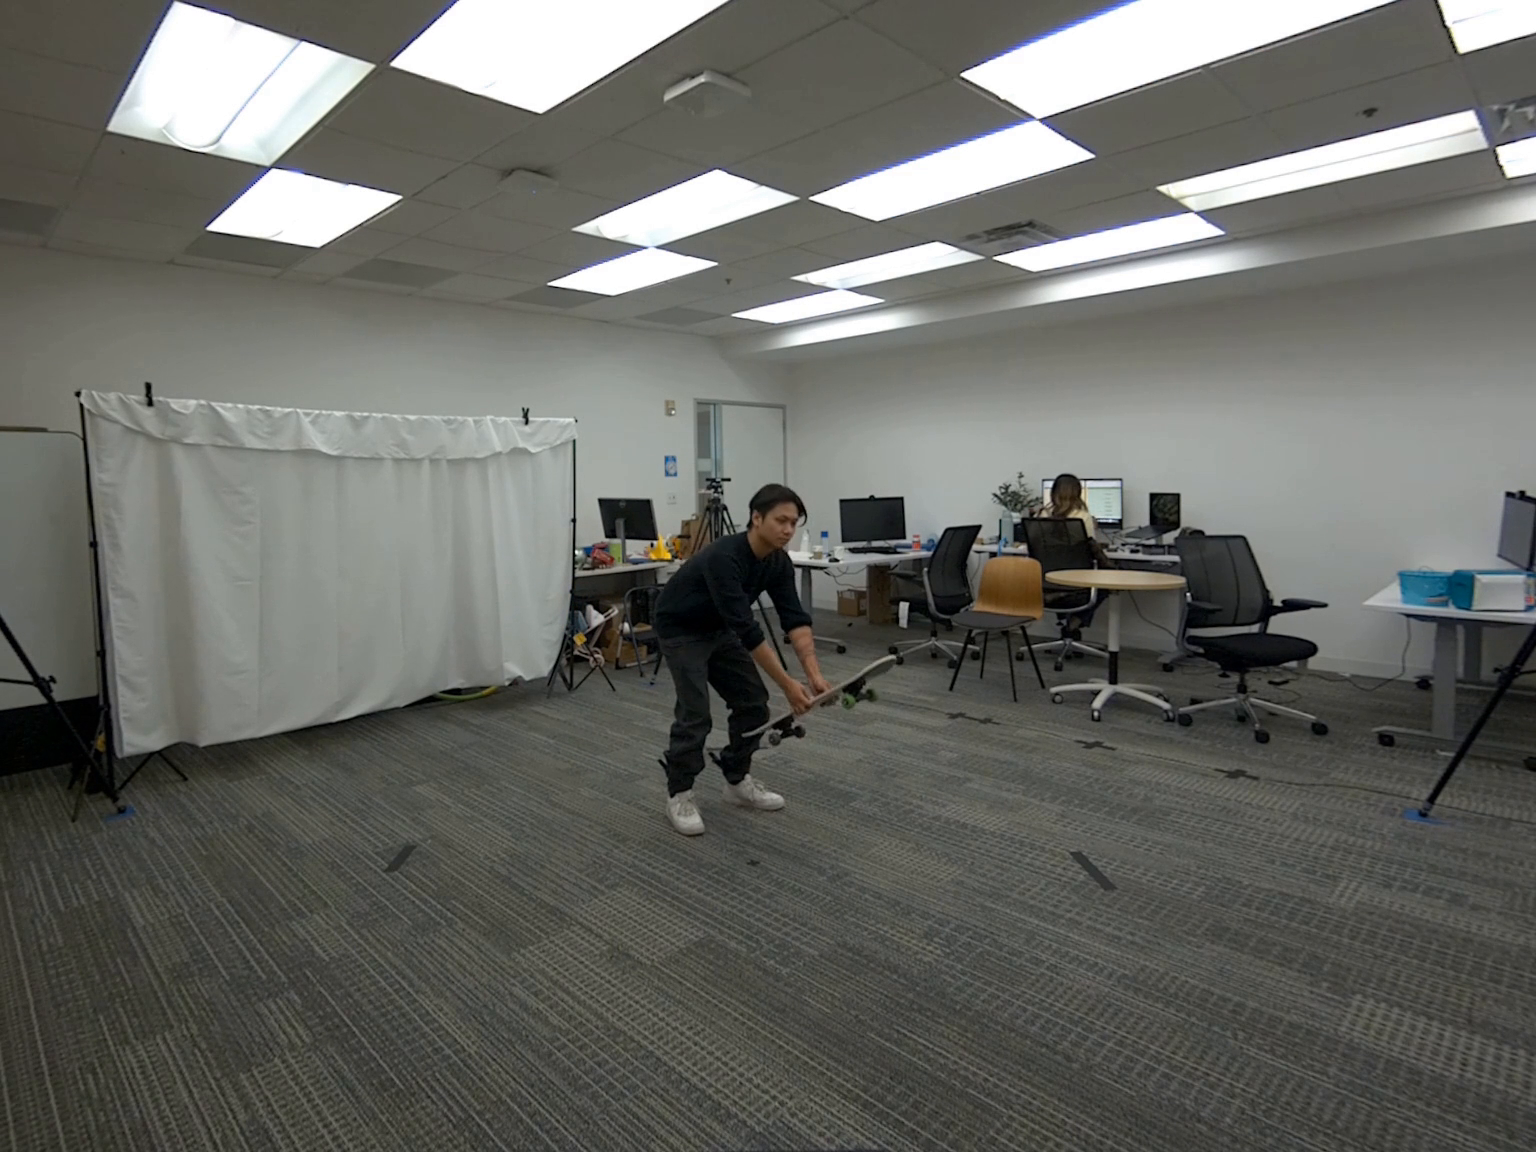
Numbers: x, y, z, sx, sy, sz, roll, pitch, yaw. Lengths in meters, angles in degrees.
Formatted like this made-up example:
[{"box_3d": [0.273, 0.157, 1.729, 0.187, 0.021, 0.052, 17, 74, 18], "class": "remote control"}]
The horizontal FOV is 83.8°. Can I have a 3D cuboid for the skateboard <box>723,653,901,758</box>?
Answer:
[{"box_3d": [0.193, 0.514, 3.245, 0.188, 0.113, 0.790, -3, -25, -47], "class": "skateboard"}]
